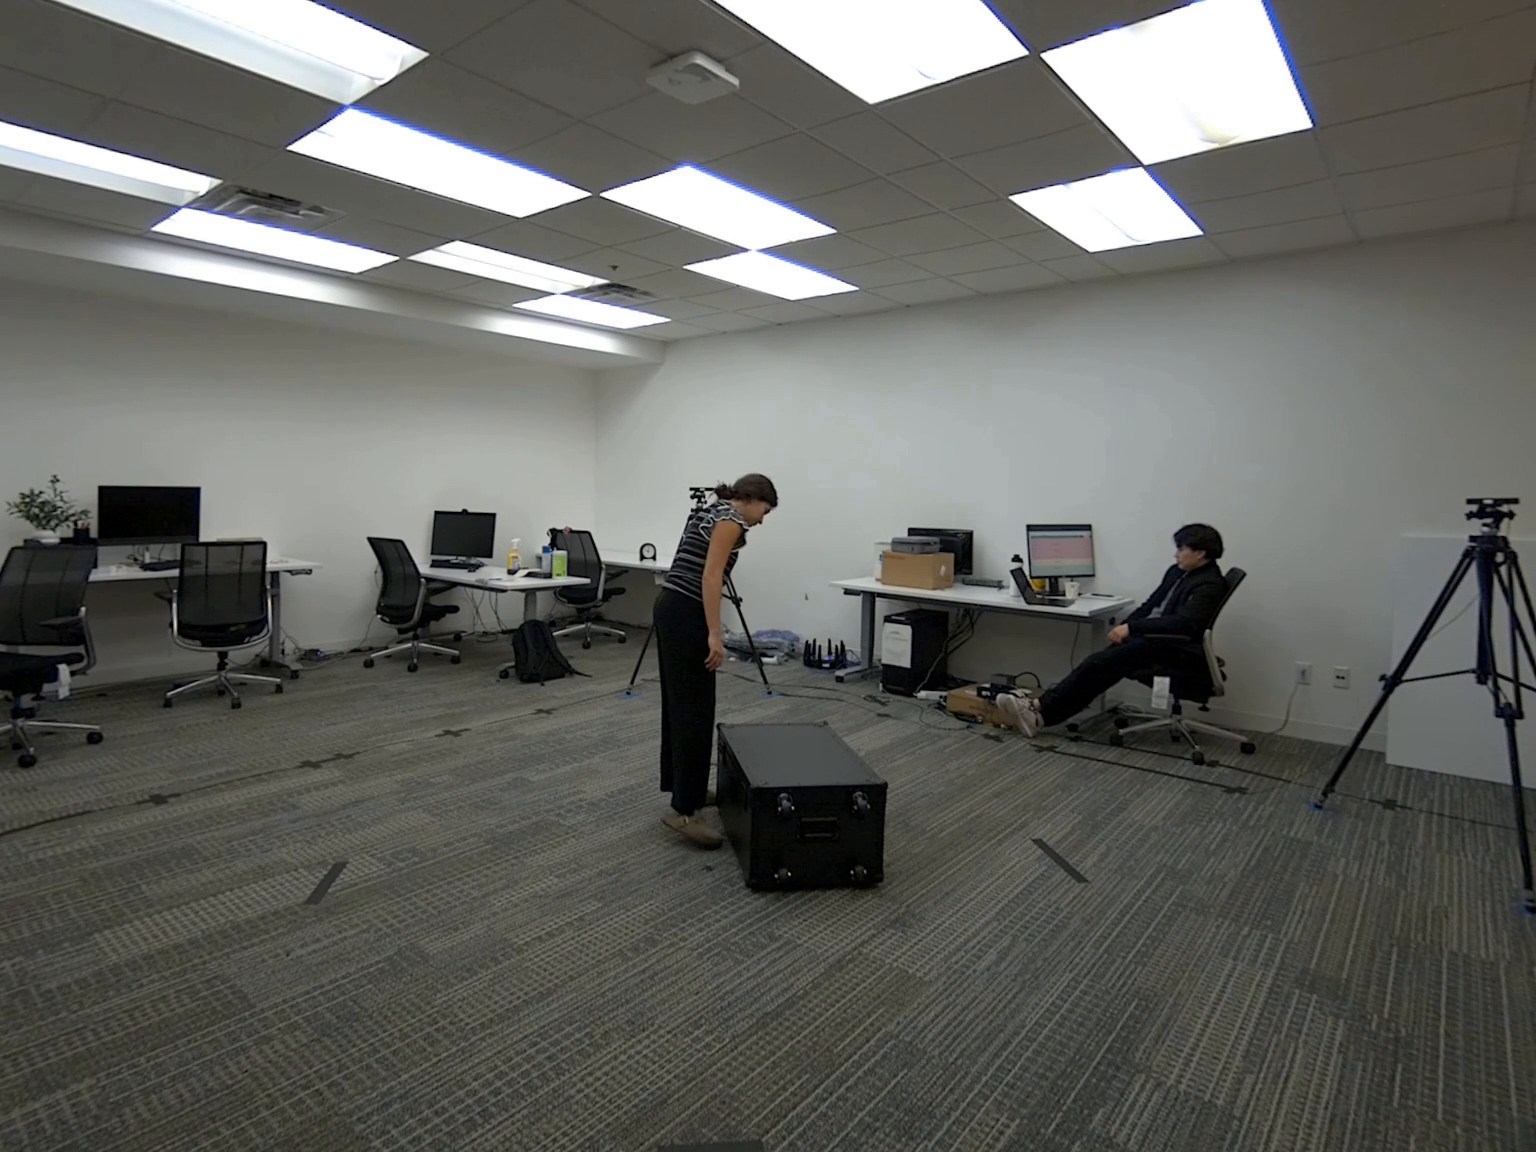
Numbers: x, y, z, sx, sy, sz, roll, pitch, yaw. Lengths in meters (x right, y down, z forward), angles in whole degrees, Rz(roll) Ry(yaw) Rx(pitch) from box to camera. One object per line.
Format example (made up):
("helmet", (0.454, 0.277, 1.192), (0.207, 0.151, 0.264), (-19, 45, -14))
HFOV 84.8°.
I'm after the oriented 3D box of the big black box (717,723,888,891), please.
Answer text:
("big black box", (0.092, 0.864, 3.283), (0.515, 0.395, 0.875), (0, 5, -12))
